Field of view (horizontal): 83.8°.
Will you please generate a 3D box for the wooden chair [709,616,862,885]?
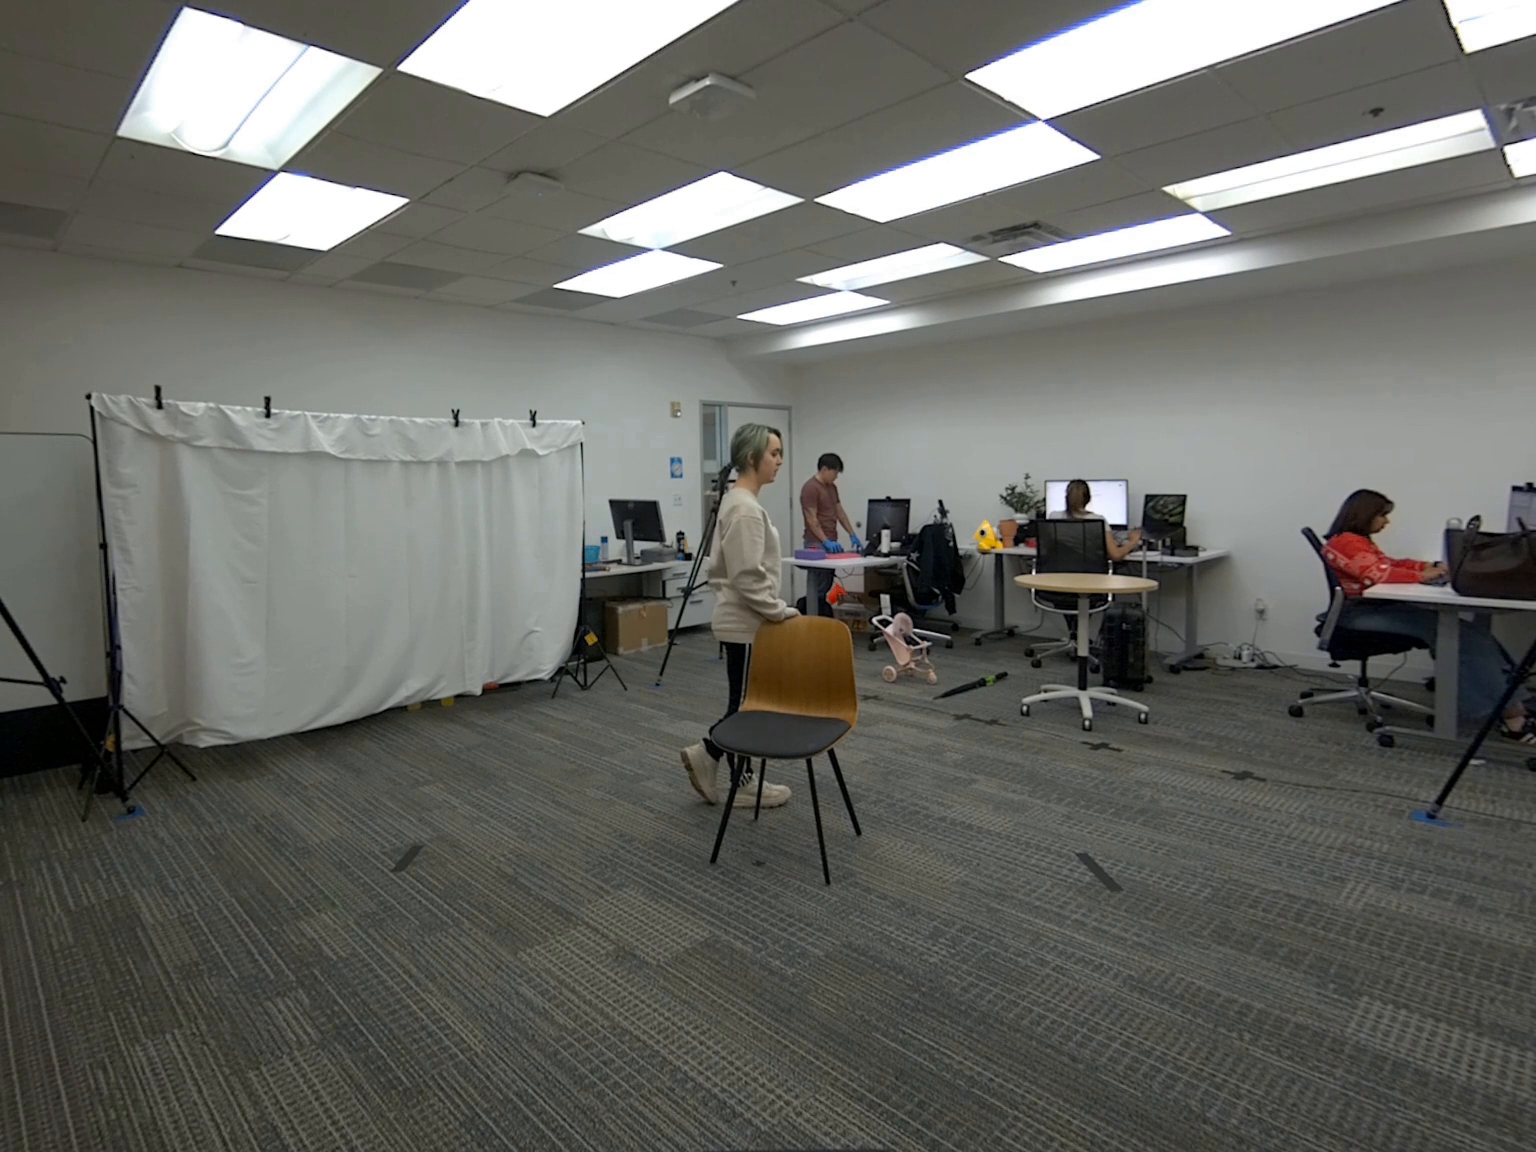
[{"bbox_3d":[0.068,0.609,3.187,0.488,0.877,0.512,1,0,23],"label":"wooden chair"}]
